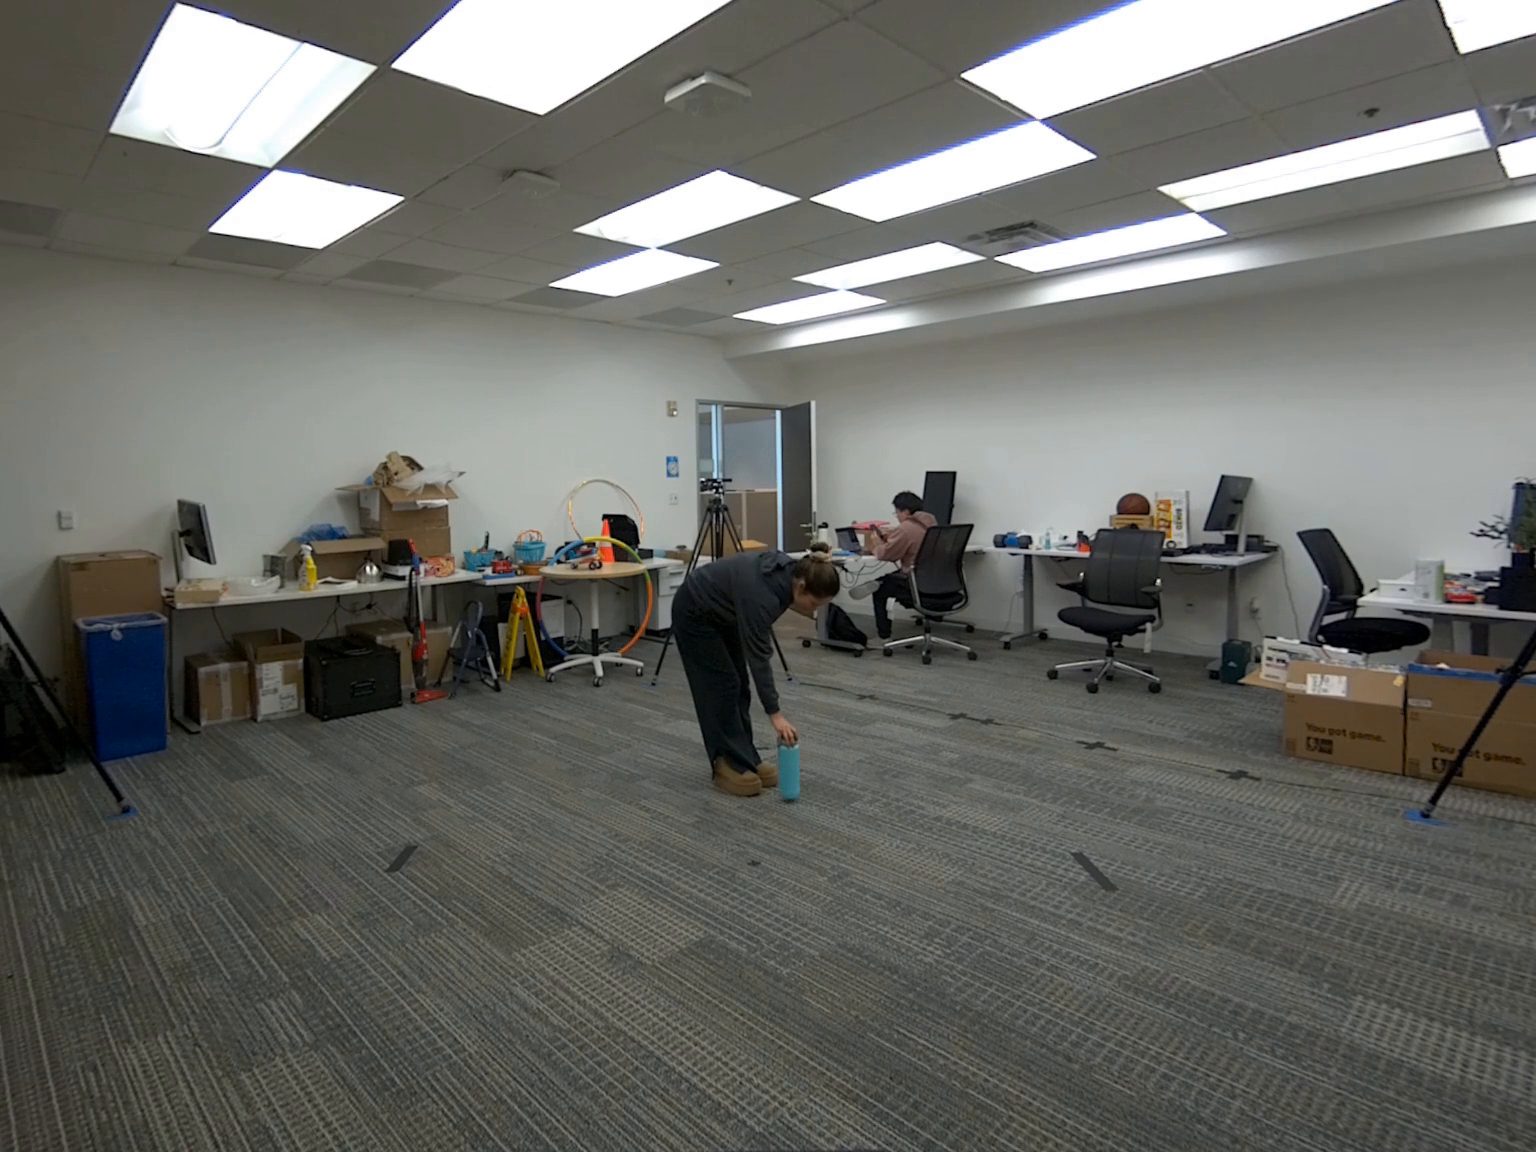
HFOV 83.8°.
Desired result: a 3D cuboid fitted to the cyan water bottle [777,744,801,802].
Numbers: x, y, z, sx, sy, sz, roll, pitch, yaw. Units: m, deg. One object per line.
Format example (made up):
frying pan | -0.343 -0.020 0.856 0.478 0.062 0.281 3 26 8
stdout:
cyan water bottle | 0.085 0.801 3.680 0.092 0.282 0.093 -3 5 -1
